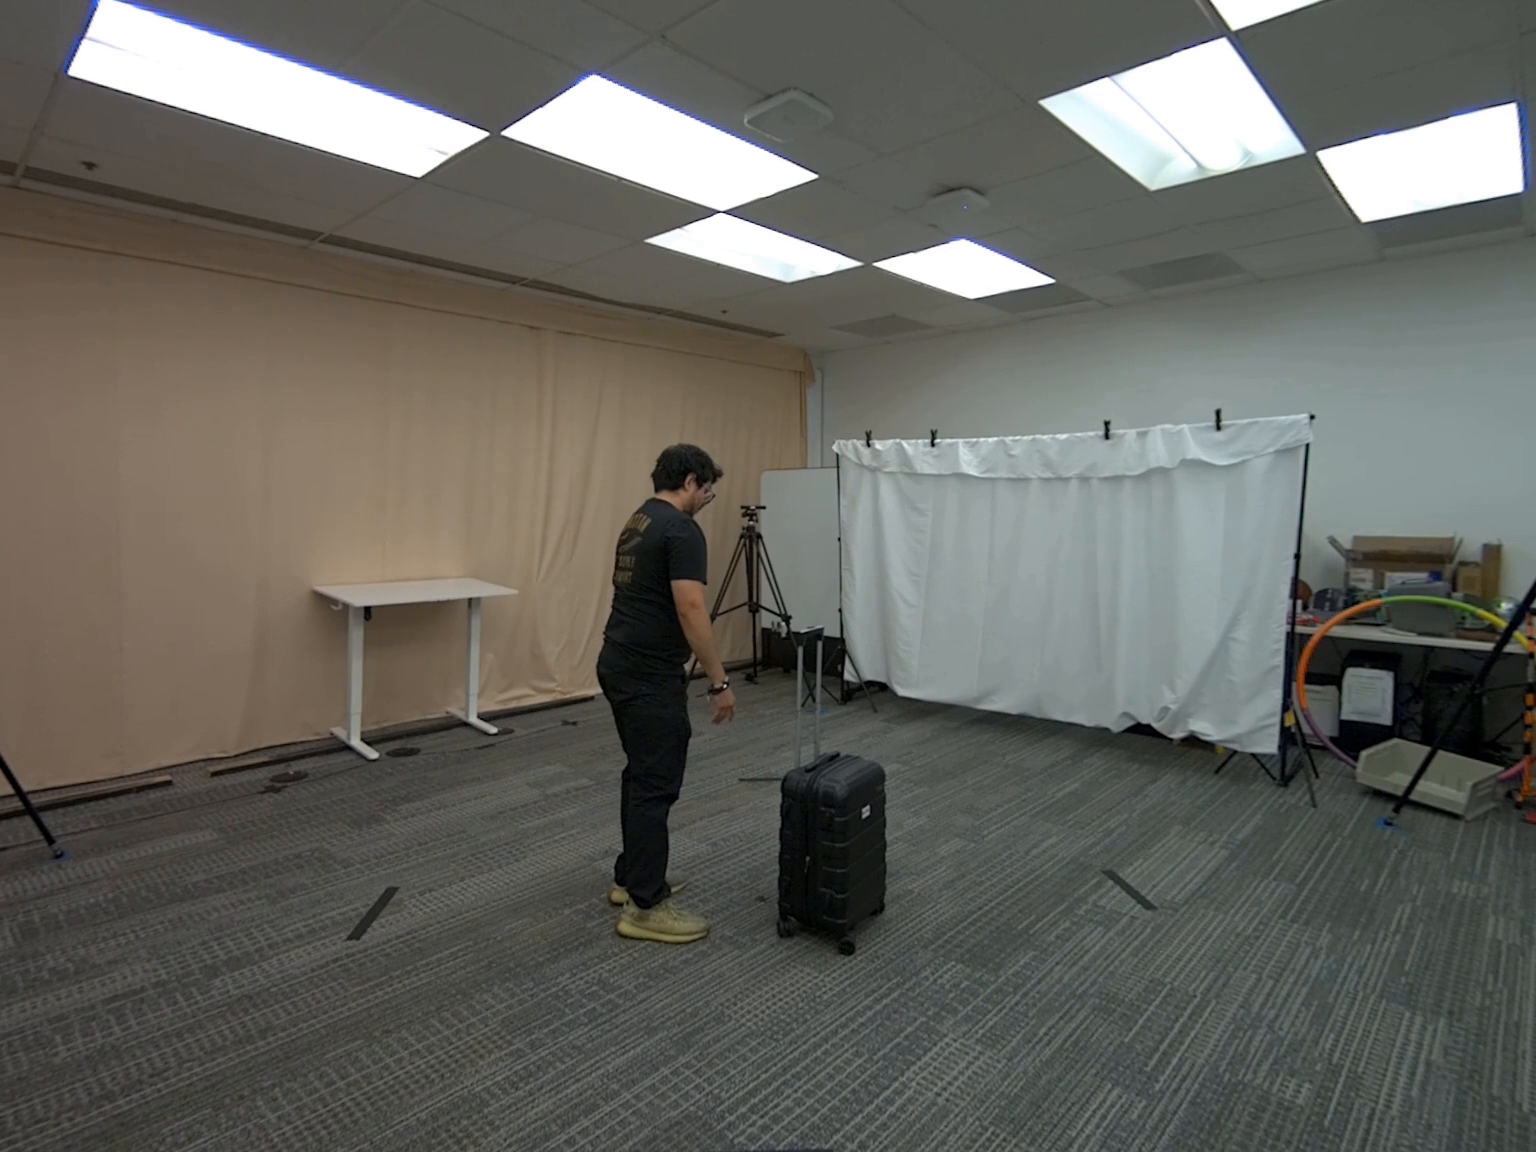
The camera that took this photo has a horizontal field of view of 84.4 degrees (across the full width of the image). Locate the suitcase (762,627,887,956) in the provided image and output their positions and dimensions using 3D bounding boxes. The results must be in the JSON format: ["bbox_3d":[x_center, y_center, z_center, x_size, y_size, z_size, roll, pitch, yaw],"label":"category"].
[{"bbox_3d":[0.236,0.685,2.770,0.265,0.976,0.373,4,4,33],"label":"suitcase"}]
